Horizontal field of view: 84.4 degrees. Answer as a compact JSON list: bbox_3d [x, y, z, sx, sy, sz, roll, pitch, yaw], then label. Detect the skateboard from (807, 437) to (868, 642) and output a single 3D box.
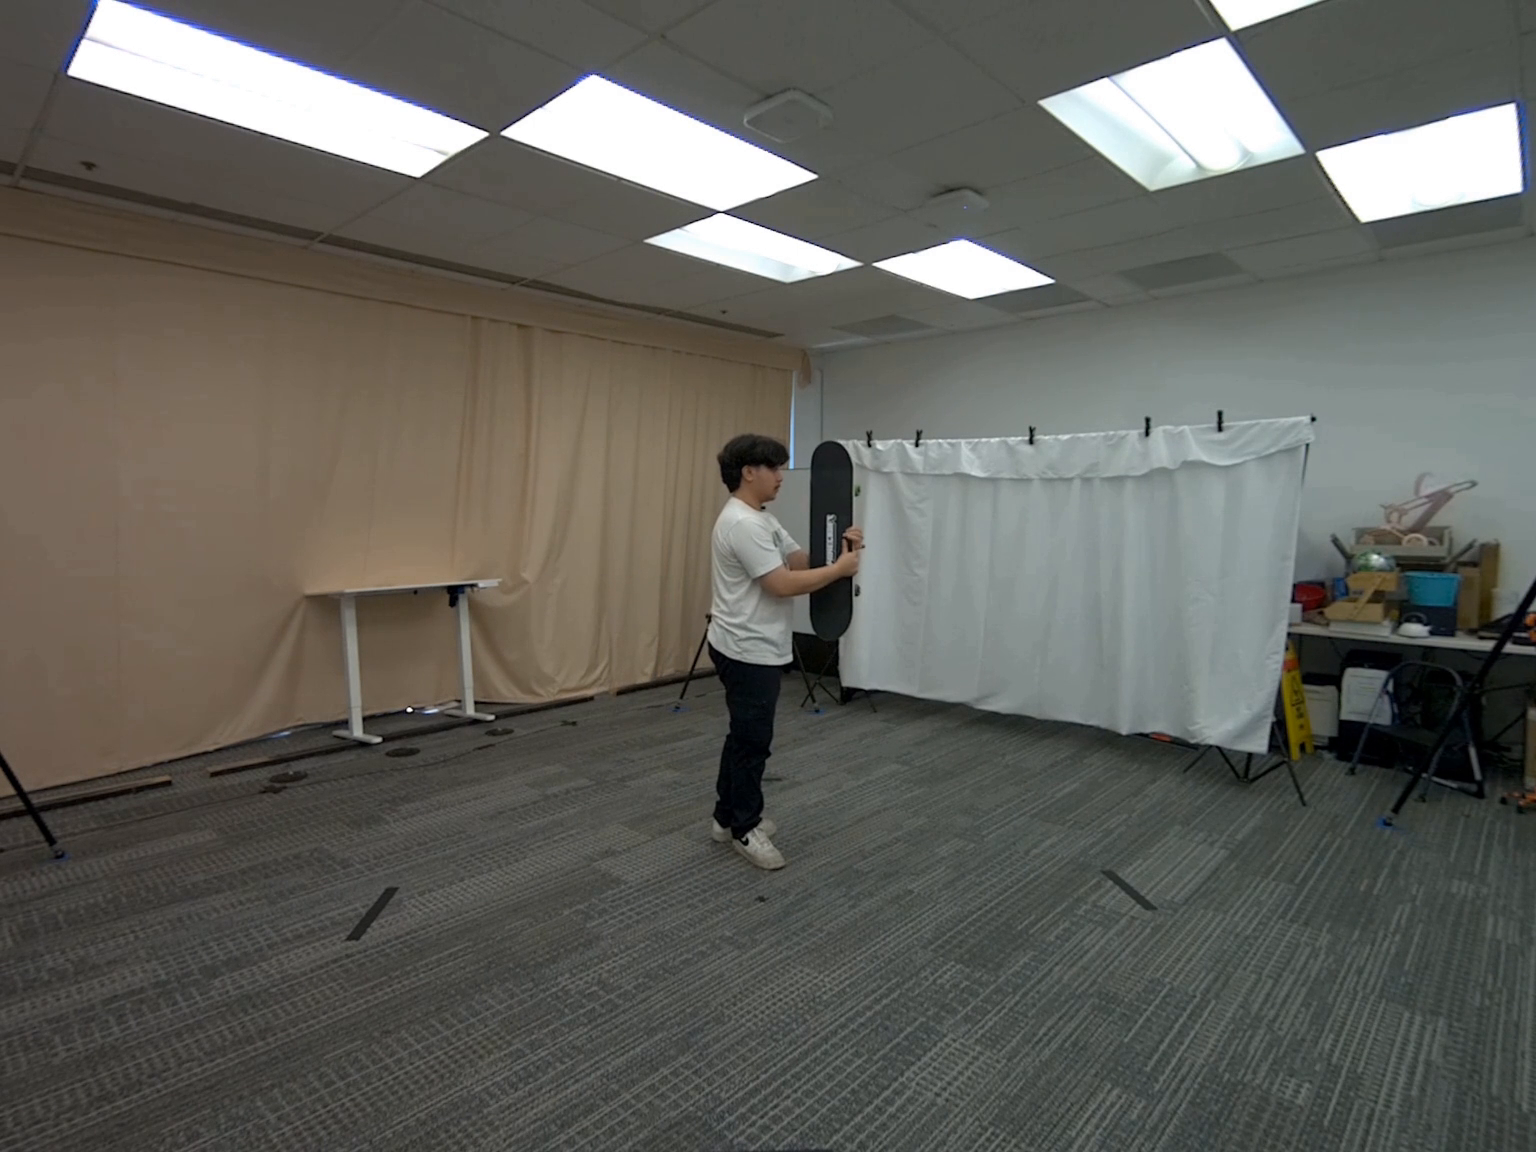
[{"bbox_3d":[0.273,-0.146,3.361,0.199,0.785,0.107,-1,0,33],"label":"skateboard"}]
